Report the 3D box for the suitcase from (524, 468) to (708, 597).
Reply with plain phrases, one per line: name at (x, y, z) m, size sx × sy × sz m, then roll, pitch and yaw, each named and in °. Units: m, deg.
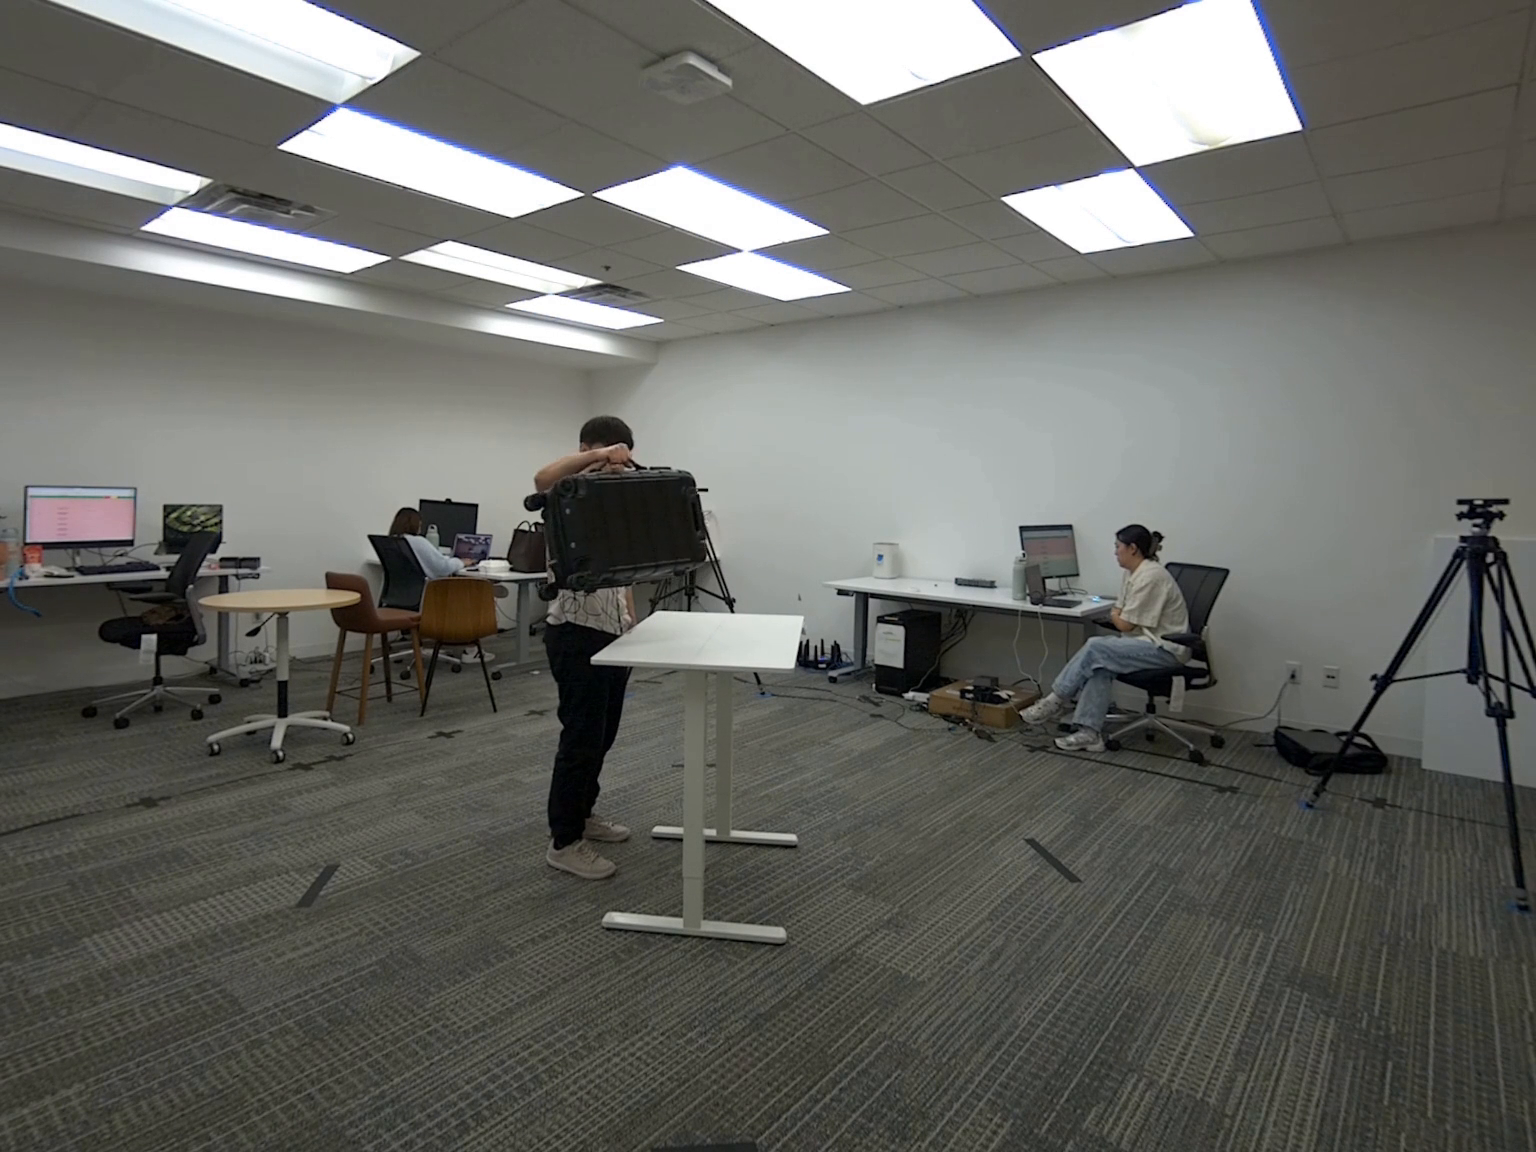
suitcase at (-0.492, -0.159, 2.794) m, size 0.534 × 0.378 × 0.254 m, roll -8°, pitch -6°, yaw -40°
